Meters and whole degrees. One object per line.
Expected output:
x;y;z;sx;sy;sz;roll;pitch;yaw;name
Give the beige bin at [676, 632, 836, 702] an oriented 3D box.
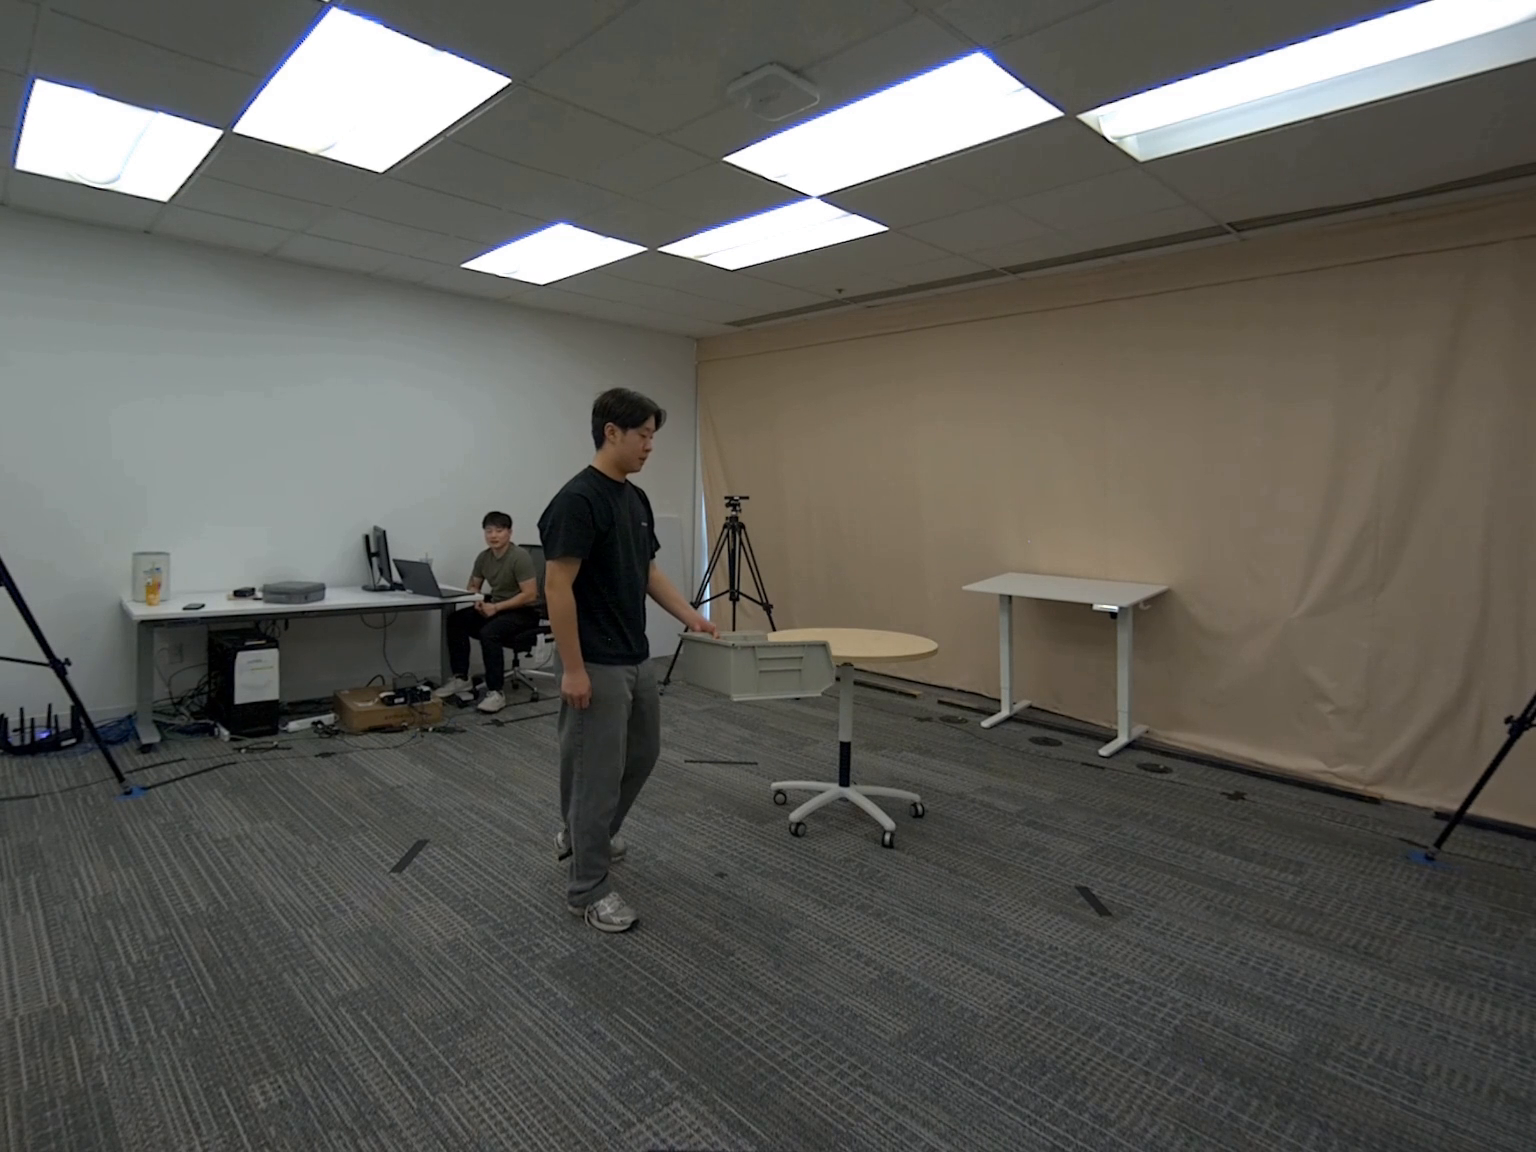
-0.050;0.291;2.814;0.370;0.189;0.431;0;1;-28;beige bin
